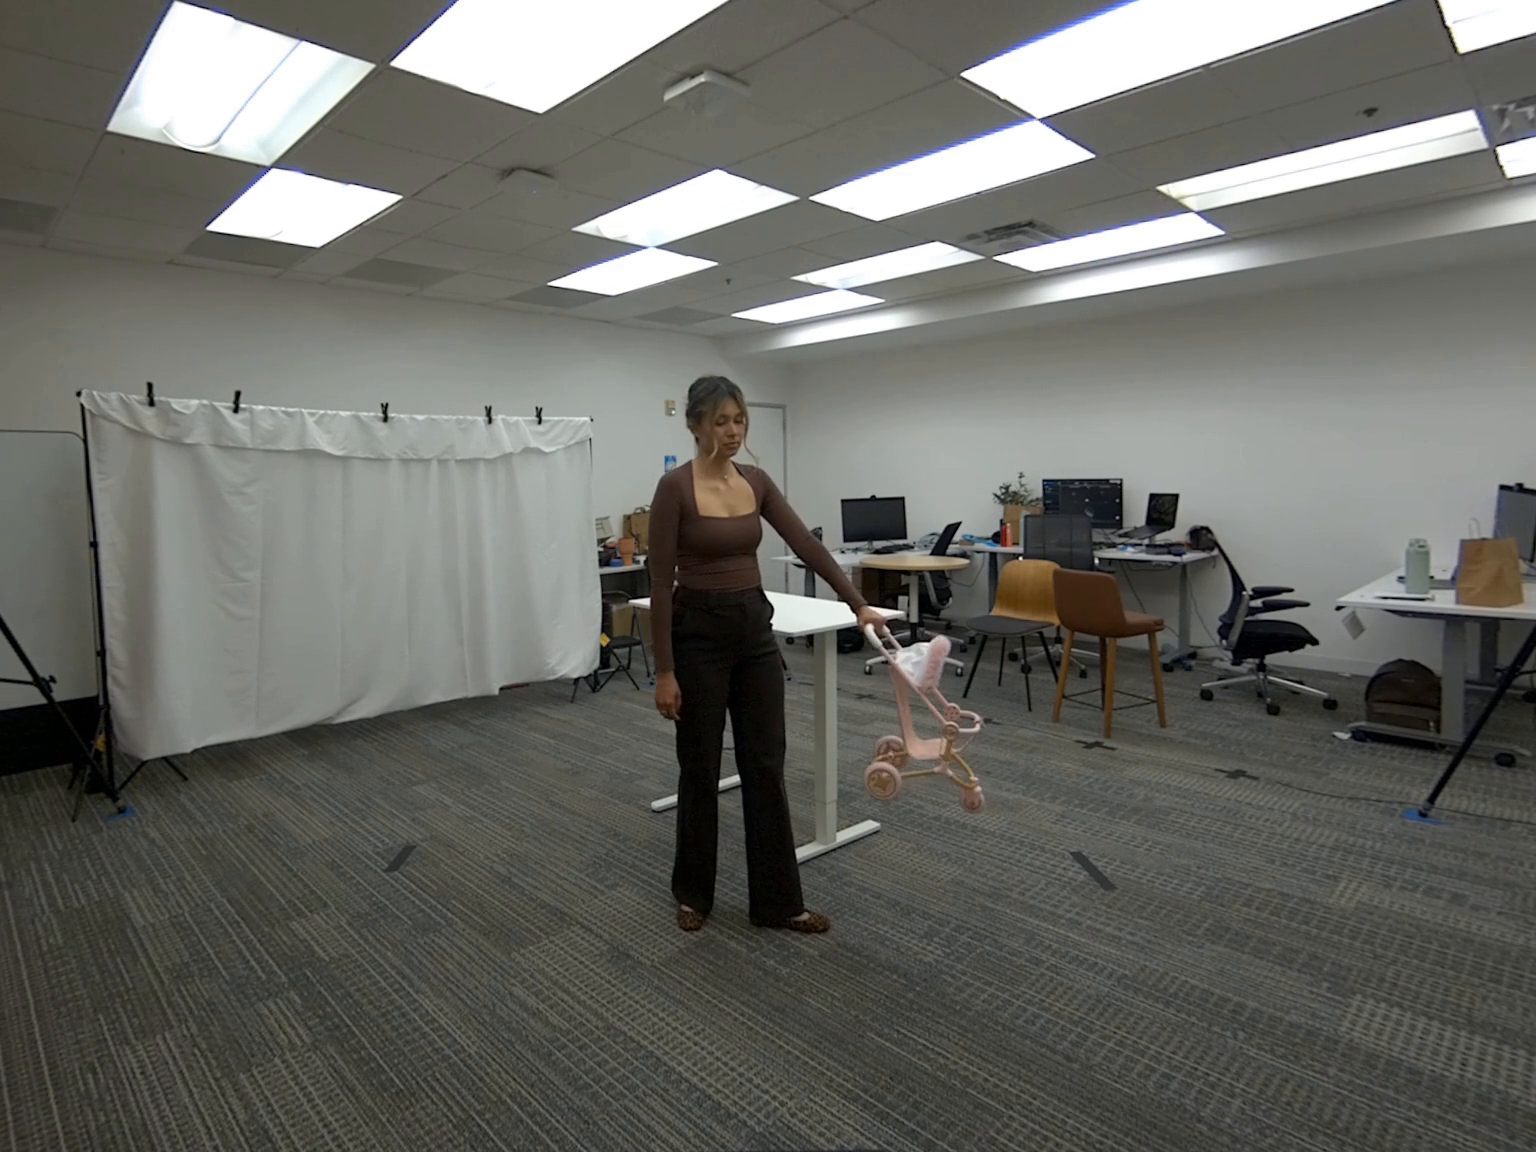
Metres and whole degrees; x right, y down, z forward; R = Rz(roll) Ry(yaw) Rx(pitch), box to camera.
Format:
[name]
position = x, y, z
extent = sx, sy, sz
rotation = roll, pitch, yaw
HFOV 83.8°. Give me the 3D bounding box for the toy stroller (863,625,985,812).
[toy stroller]
position = 0.452, 0.407, 2.461
extent = 0.348, 0.534, 0.276
rotation = 1, 3, 20
